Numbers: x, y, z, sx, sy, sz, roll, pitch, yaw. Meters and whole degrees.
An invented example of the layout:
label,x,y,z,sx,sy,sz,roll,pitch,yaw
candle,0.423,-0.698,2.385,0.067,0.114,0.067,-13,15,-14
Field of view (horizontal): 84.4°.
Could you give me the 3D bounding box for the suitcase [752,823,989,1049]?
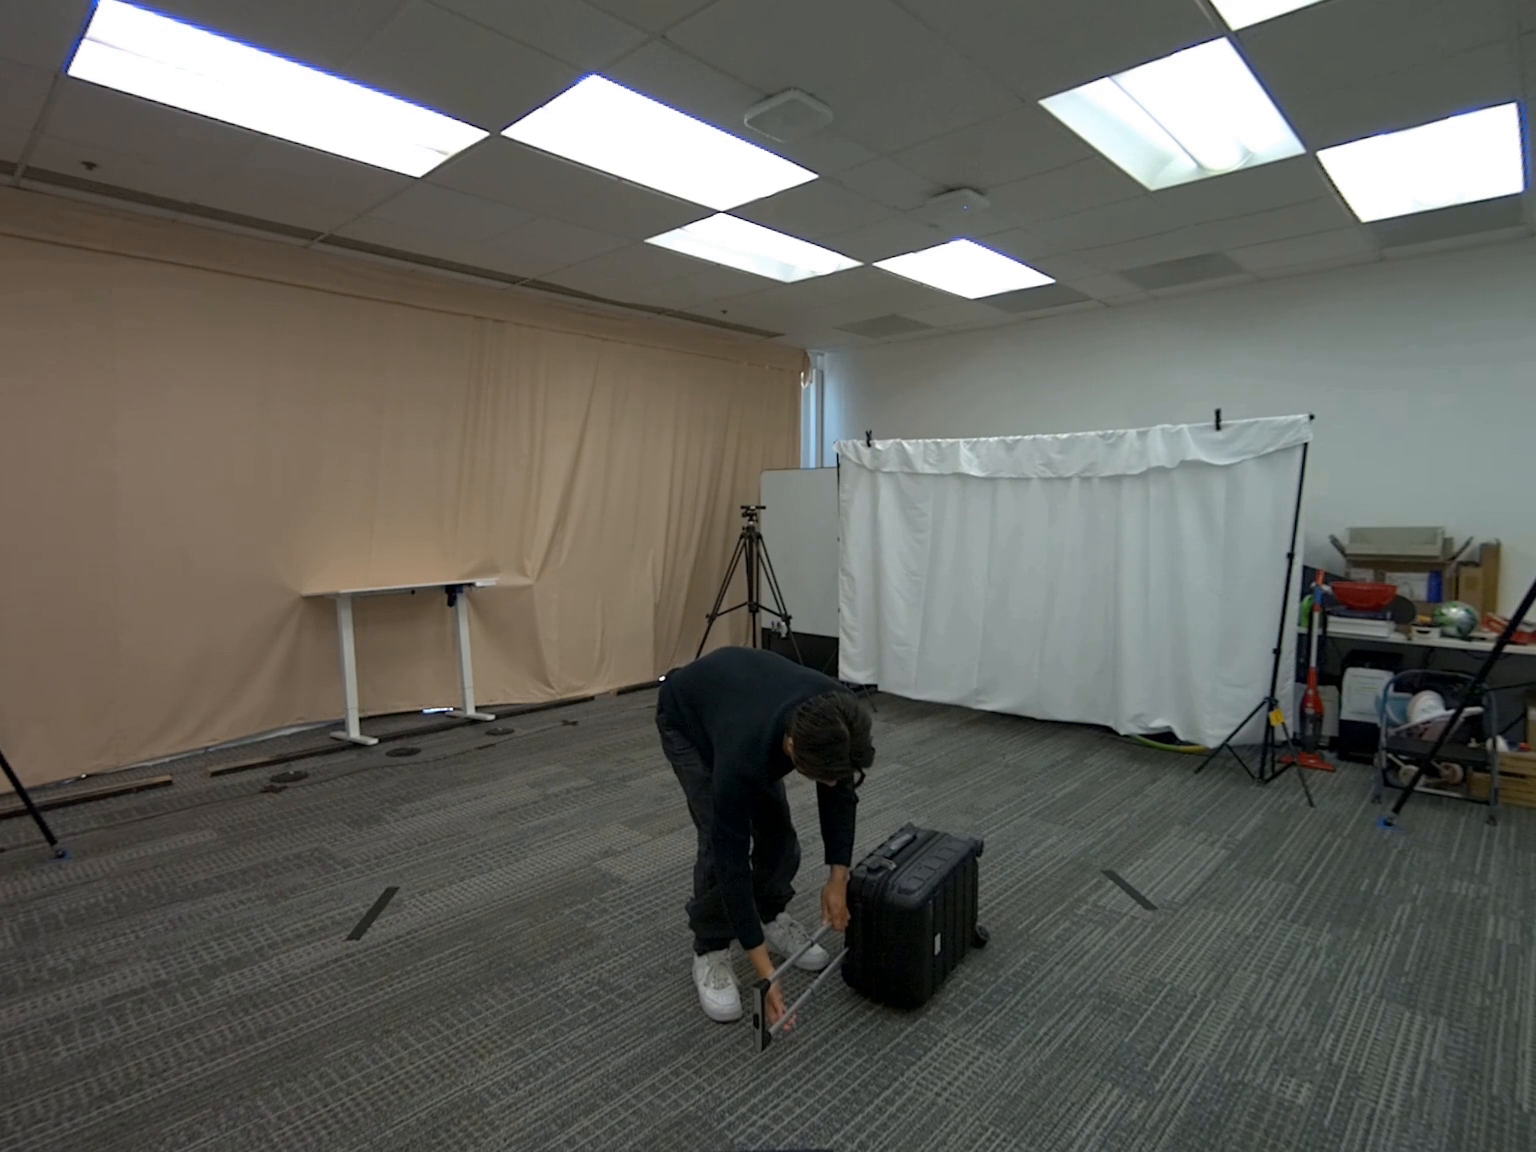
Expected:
label,x,y,z,sx,sy,sz,roll,pitch,yaw
suitcase,0.338,1.016,2.340,0.265,0.383,0.951,2,5,34
